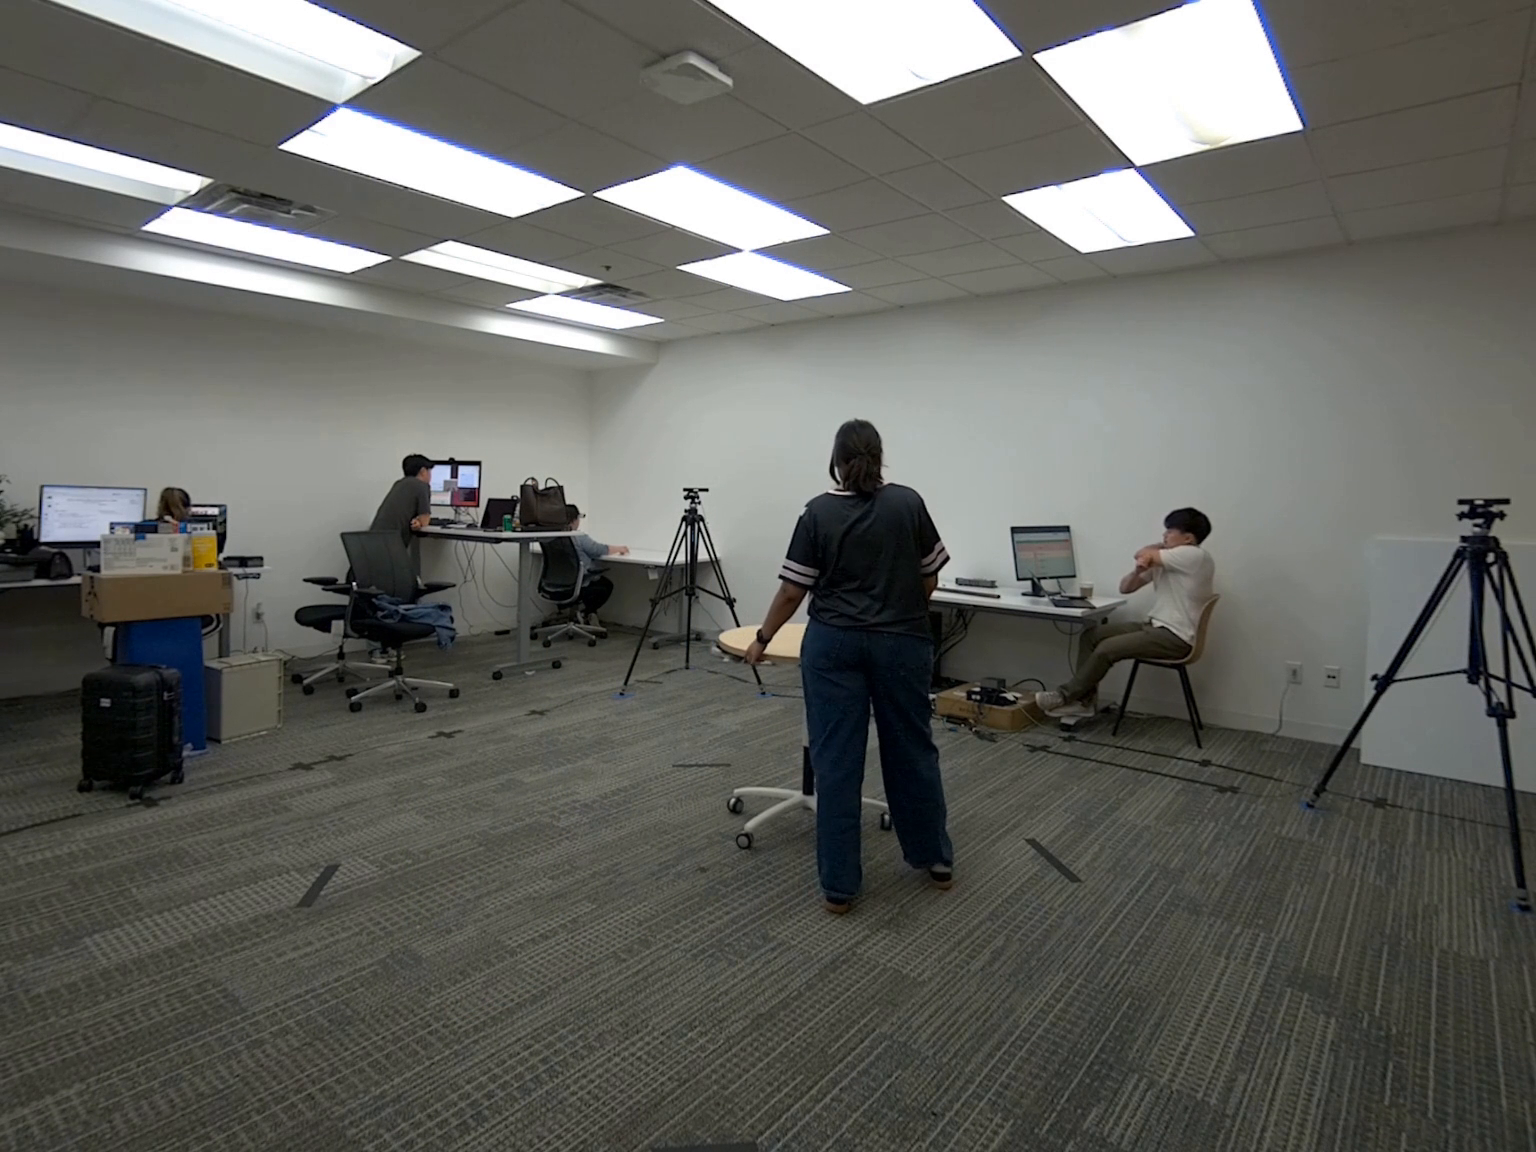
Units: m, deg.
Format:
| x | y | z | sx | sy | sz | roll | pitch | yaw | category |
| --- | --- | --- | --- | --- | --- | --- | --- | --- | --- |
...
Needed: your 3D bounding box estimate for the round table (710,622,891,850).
| x | y | z | sx | sy | sz | roll | pitch | yaw | category |
| --- | --- | --- | --- | --- | --- | --- | --- | --- | --- |
| 0.163 | 0.641 | 3.511 | 0.784 | 0.784 | 0.789 | 1 | 4 | -2 | round table |
